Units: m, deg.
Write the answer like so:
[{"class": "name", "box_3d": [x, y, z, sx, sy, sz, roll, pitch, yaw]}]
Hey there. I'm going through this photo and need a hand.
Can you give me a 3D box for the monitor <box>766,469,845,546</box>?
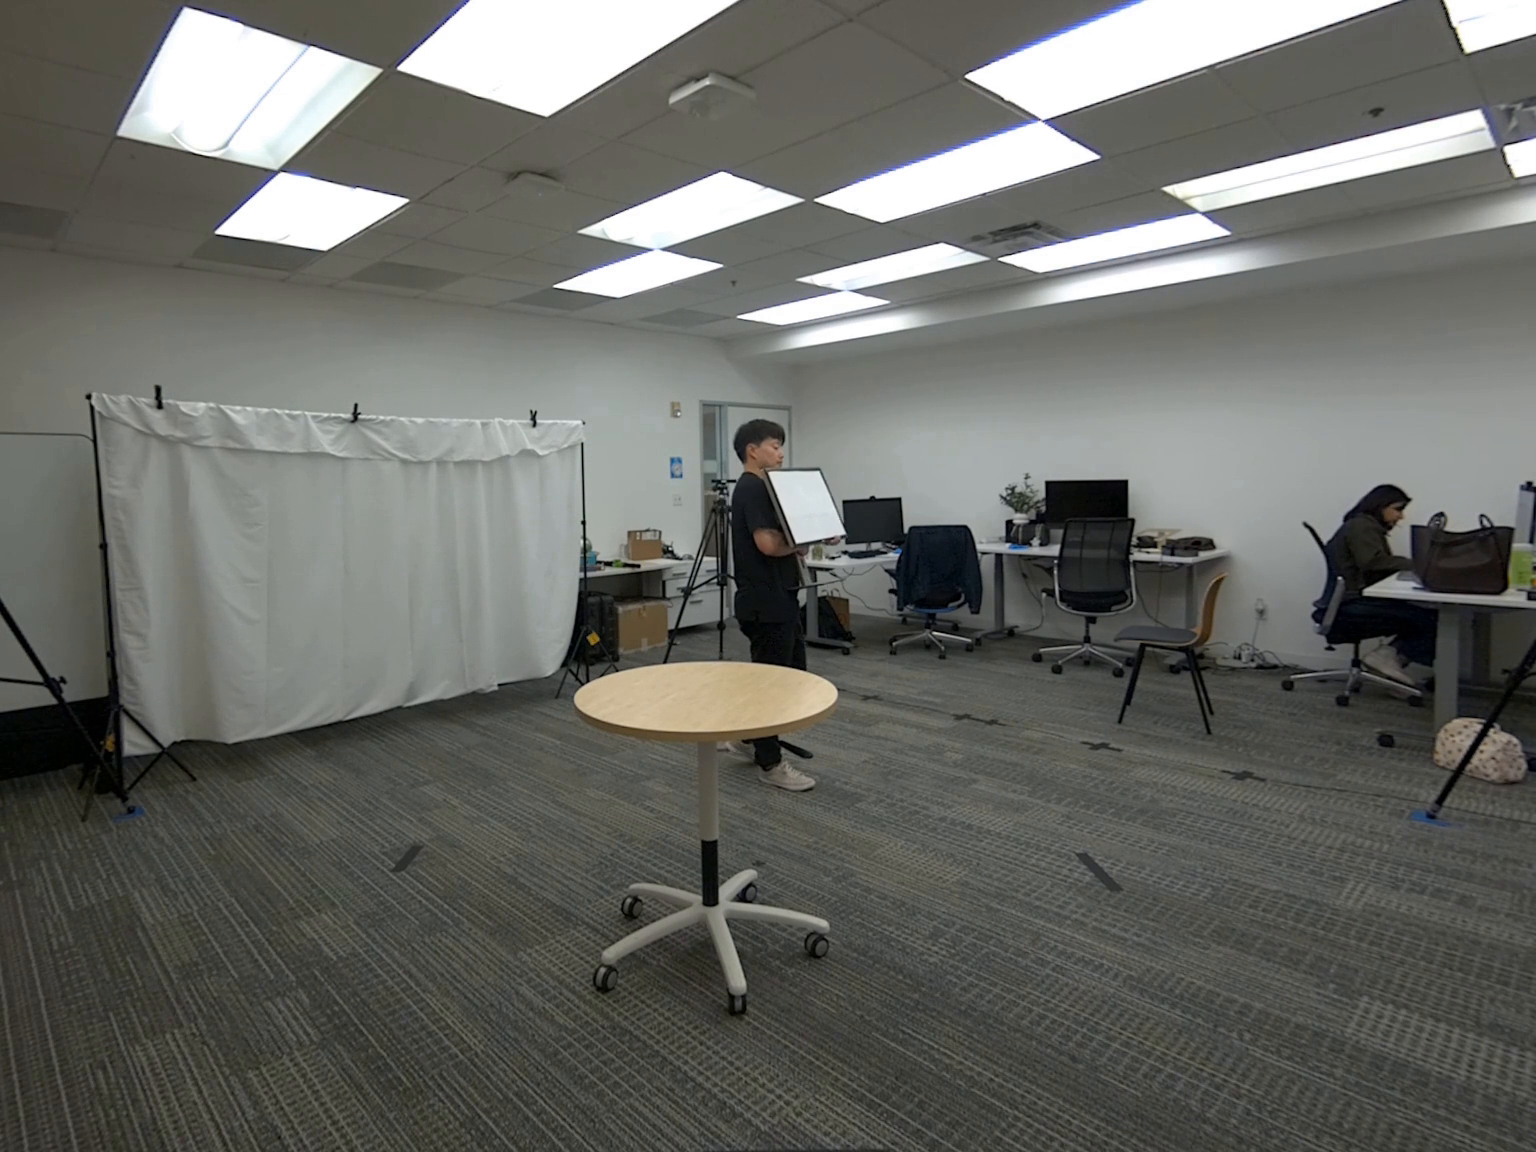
[{"class": "monitor", "box_3d": [0.156, -0.221, 3.825, 0.191, 0.523, 0.528, -11, 0, 29]}]
